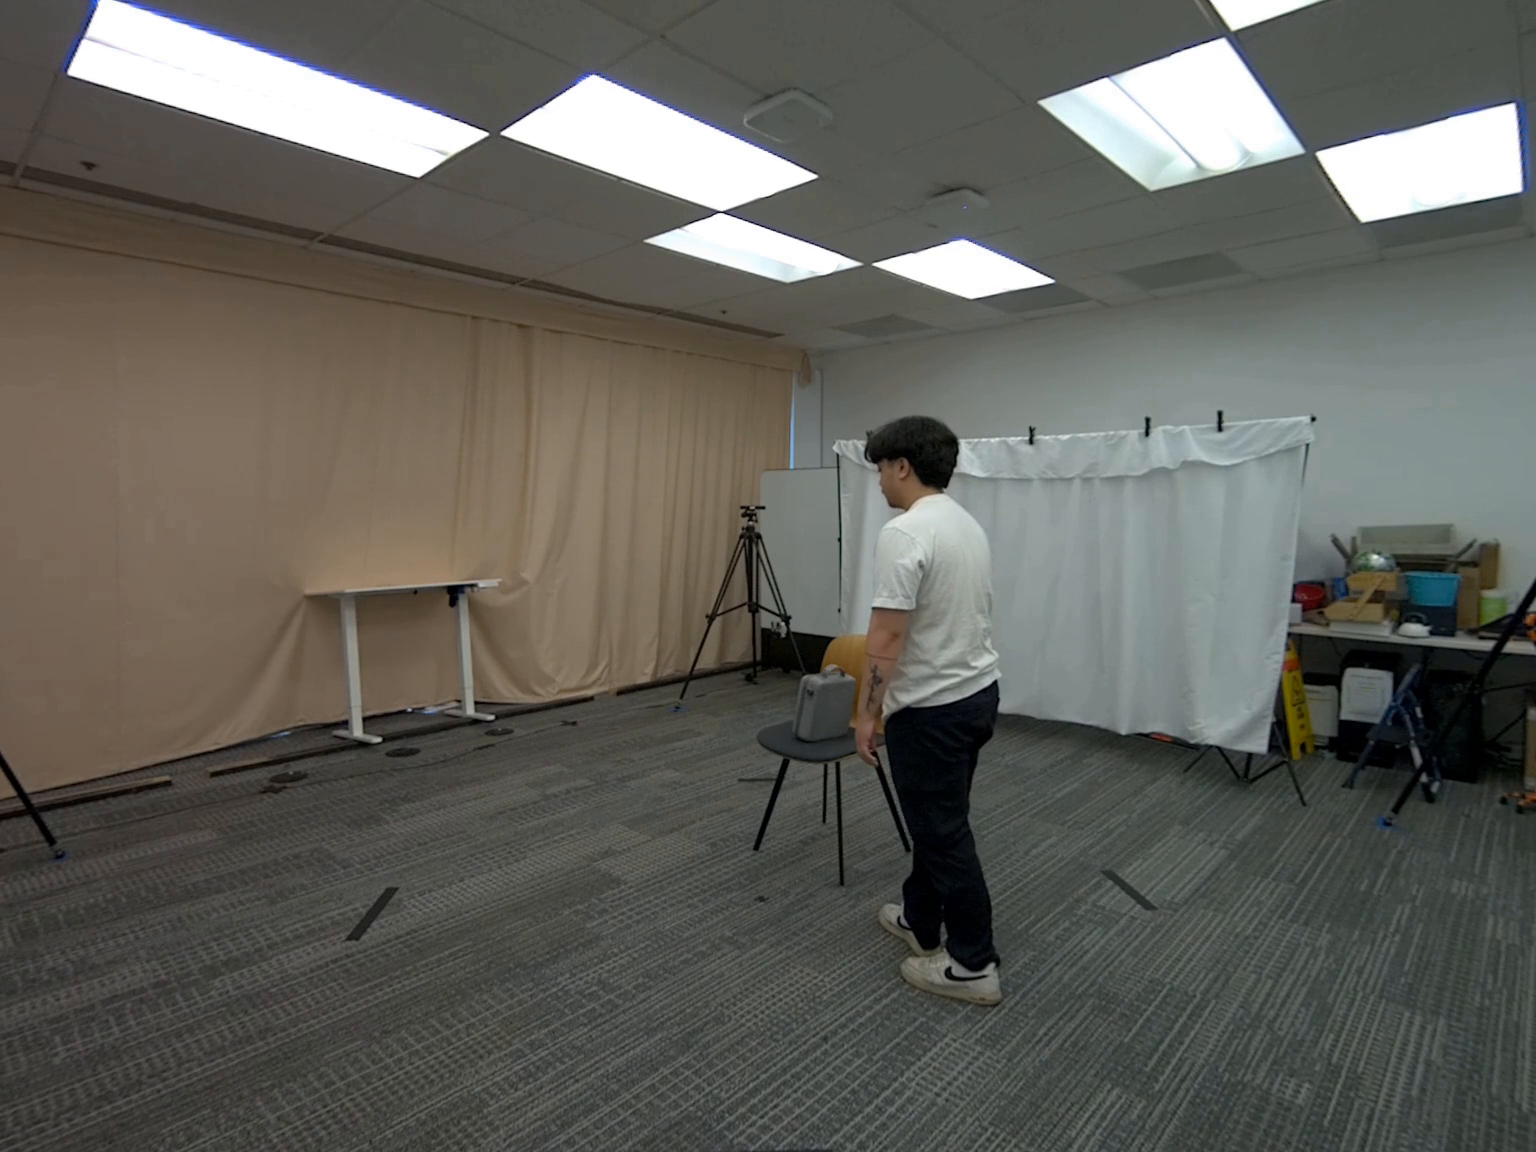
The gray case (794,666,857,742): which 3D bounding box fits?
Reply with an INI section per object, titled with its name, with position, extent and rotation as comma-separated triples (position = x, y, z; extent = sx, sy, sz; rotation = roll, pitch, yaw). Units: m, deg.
[gray case]
position = 0.228, 0.509, 3.320
extent = 0.248, 0.260, 0.108
rotation = 2, 10, -44
